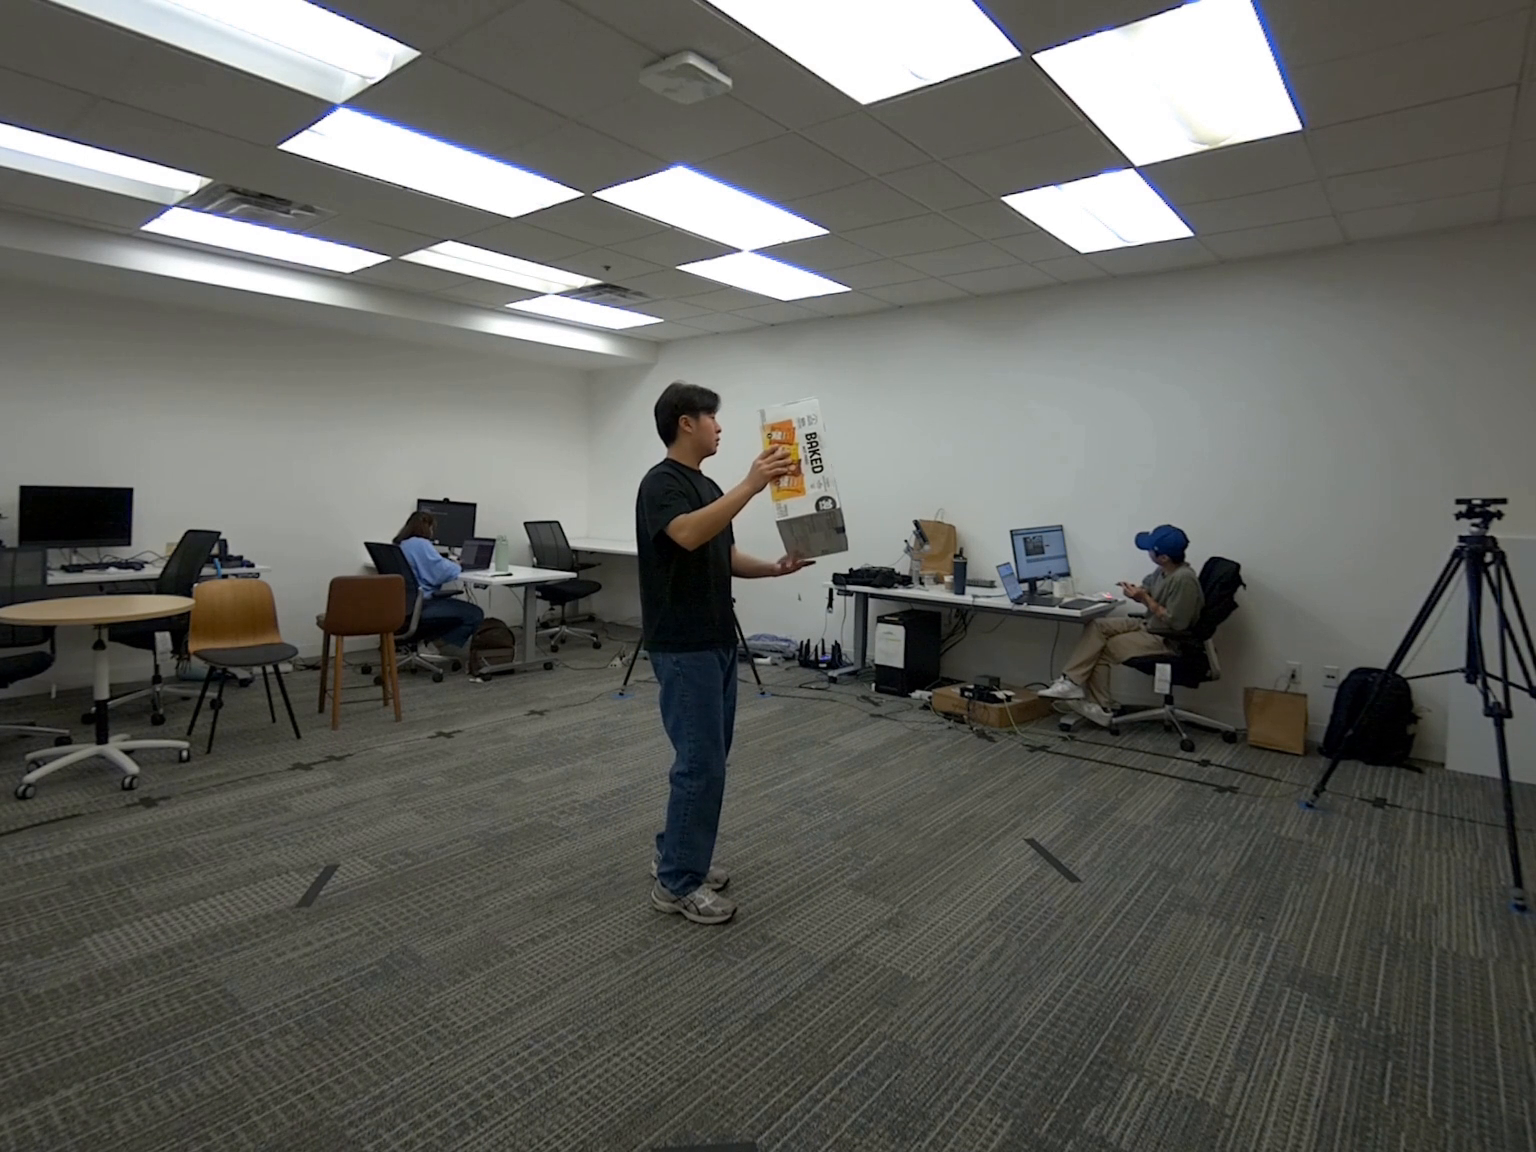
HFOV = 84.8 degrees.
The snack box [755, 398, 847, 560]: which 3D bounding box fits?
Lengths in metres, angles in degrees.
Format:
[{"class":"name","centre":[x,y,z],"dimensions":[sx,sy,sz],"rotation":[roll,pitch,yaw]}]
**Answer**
[{"class":"snack box","centre":[0.109,-0.312,2.794],"dimensions":[0.207,0.415,0.330],"rotation":[-10,-24,7]}]
